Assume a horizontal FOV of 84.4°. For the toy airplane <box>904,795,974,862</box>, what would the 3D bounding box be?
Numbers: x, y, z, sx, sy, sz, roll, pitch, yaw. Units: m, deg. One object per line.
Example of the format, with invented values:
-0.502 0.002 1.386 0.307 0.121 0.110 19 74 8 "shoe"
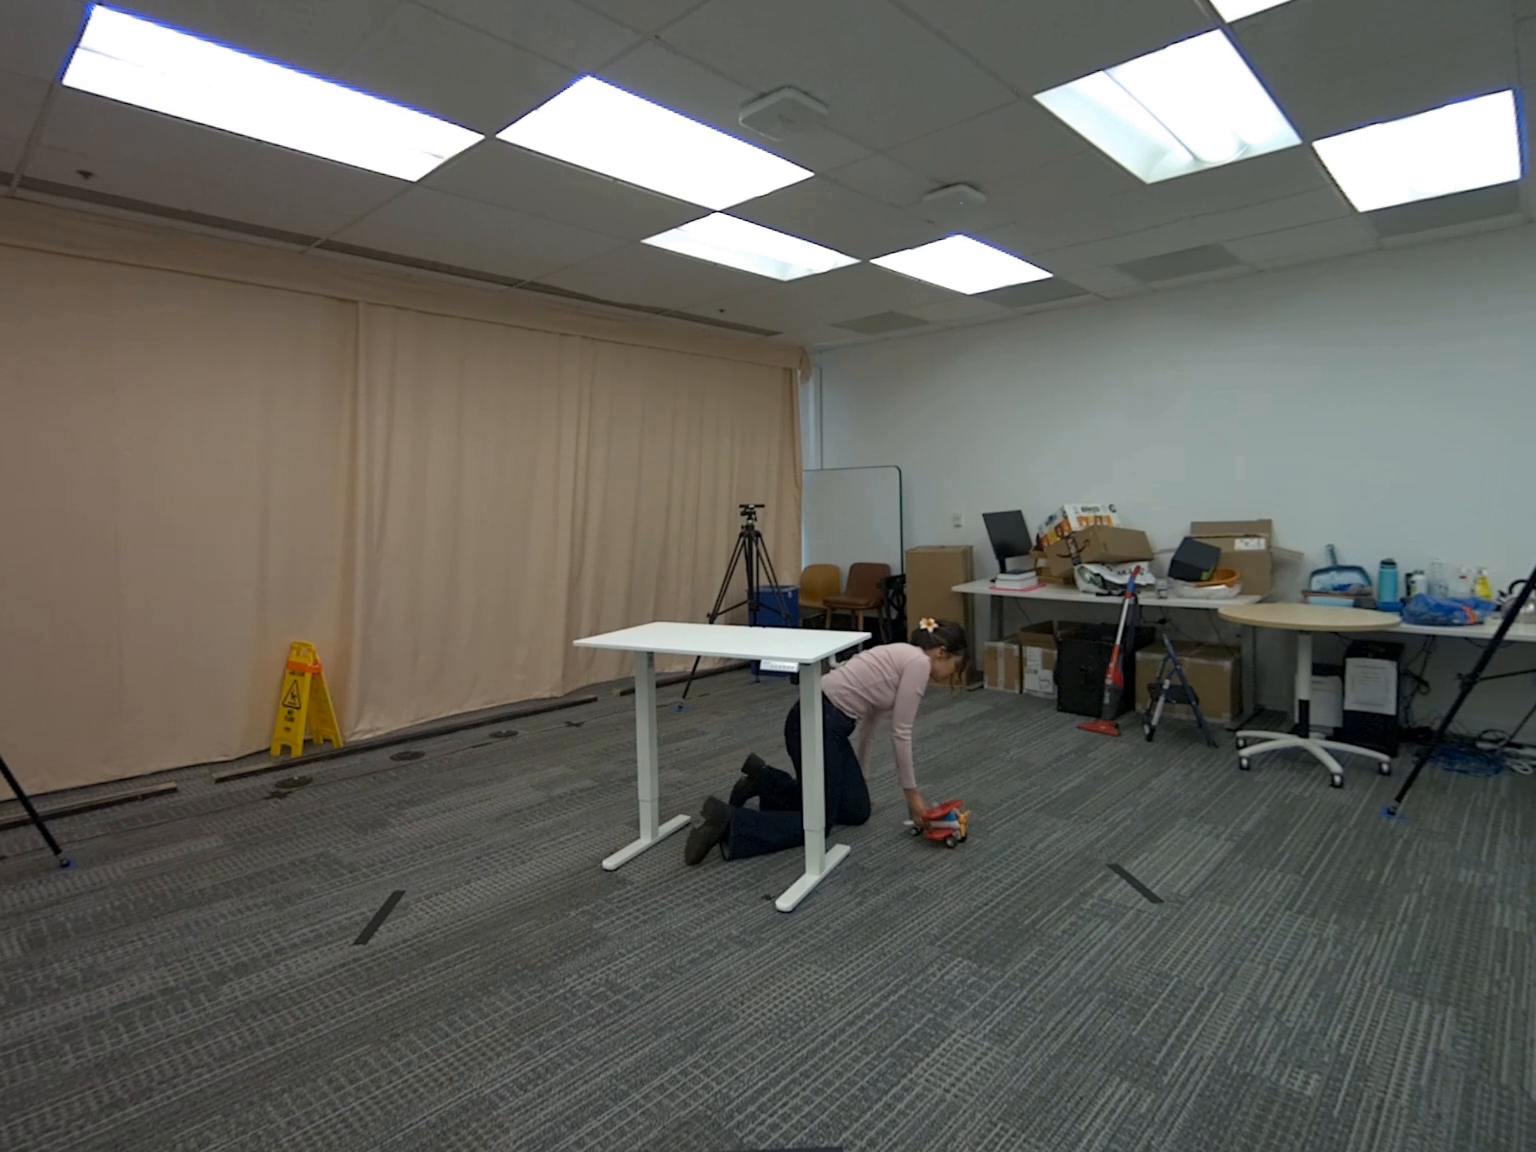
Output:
0.695 1.017 3.442 0.263 0.156 0.247 1 4 14 "toy airplane"
